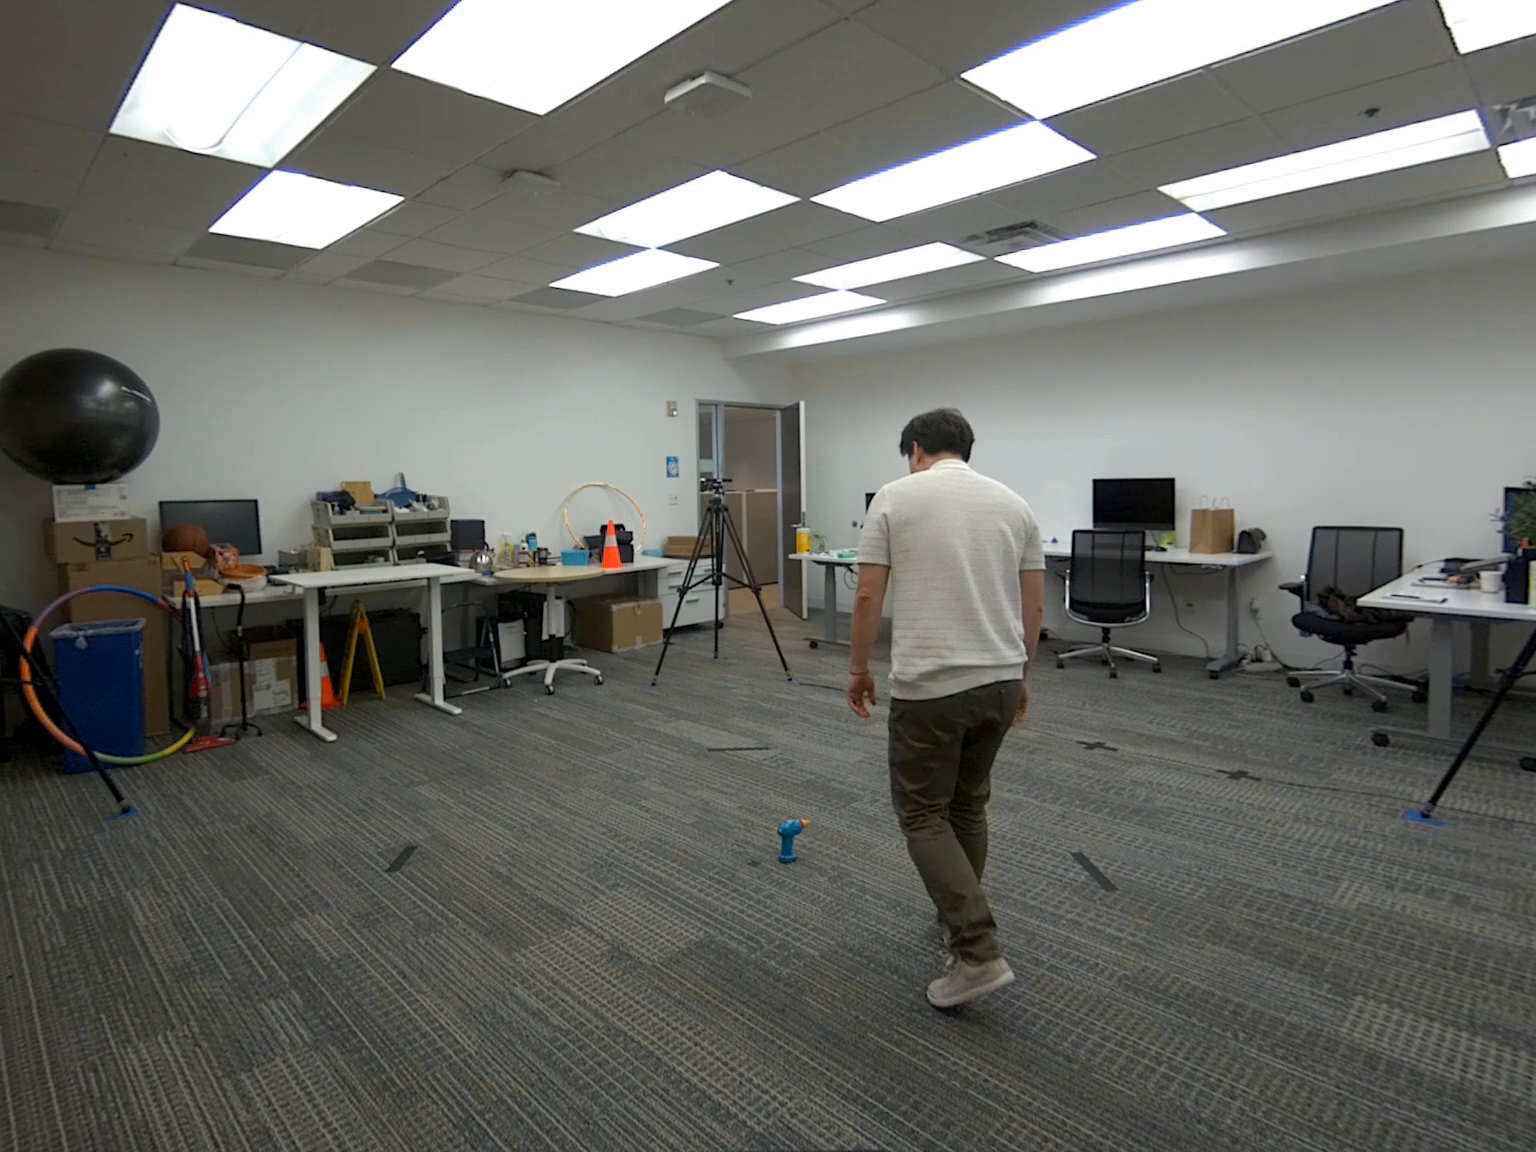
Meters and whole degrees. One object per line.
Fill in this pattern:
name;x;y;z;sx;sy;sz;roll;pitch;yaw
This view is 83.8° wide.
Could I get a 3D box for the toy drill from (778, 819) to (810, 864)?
toy drill;0.104;0.968;3.148;0.165;0.145;0.063;-4;6;-45
